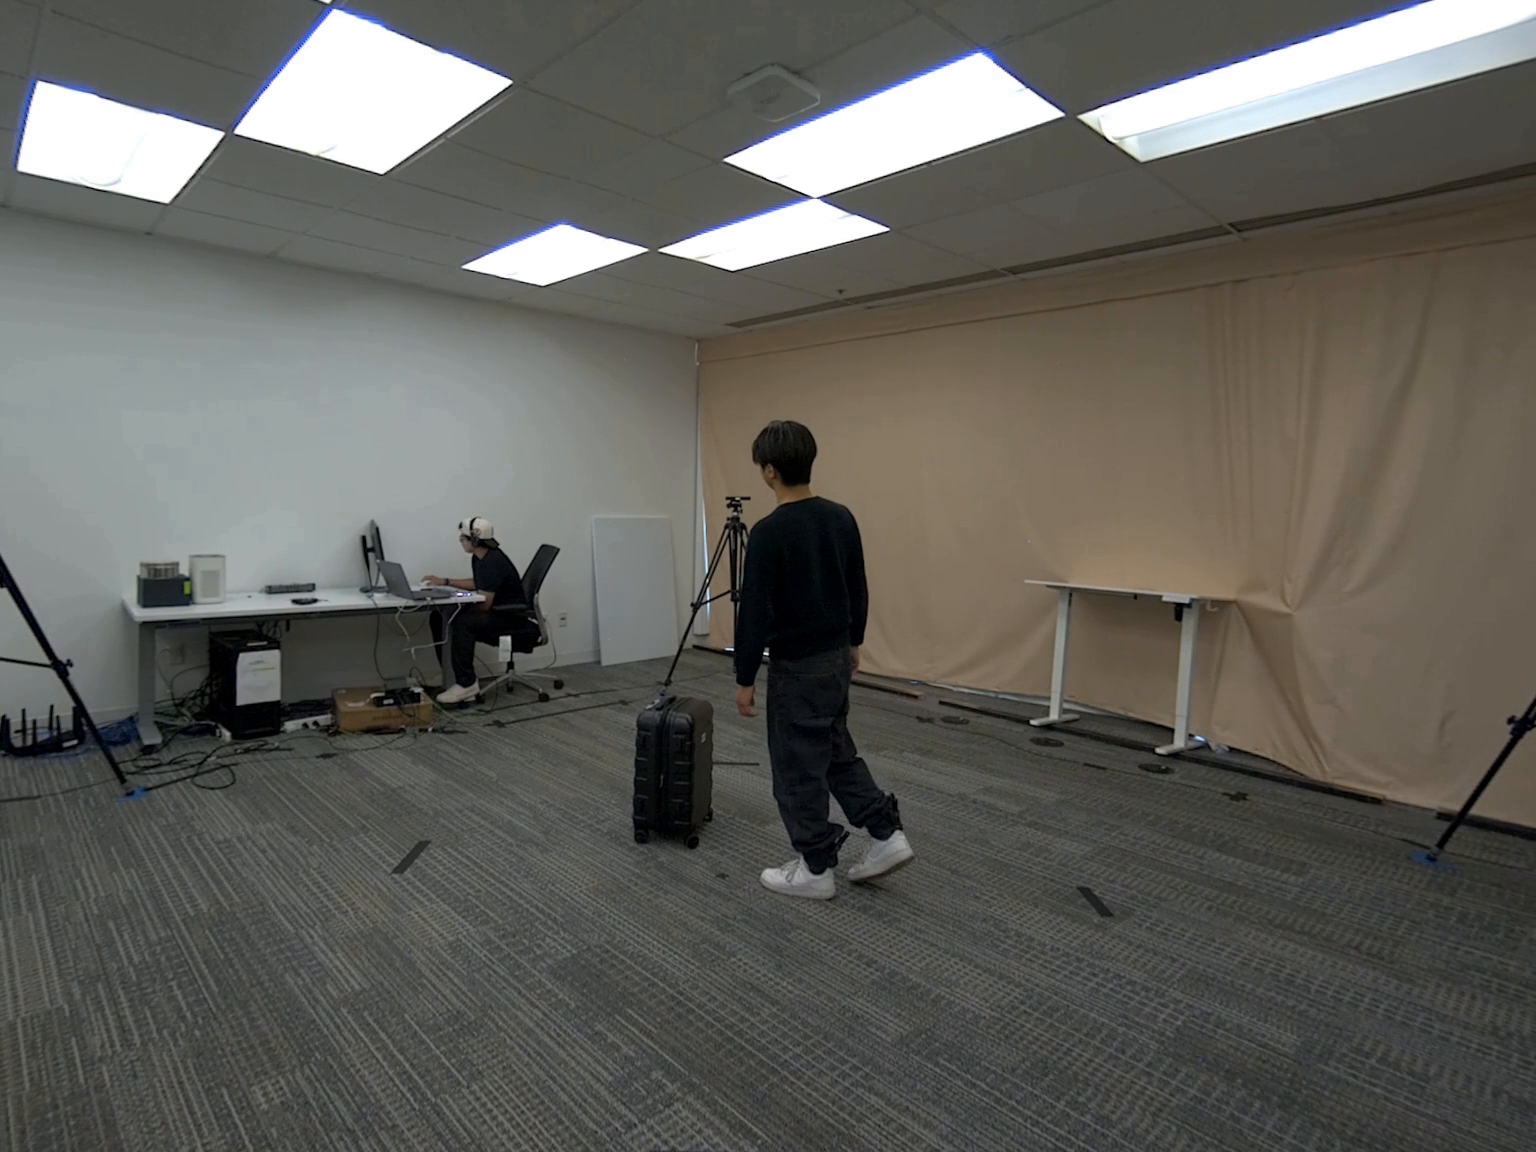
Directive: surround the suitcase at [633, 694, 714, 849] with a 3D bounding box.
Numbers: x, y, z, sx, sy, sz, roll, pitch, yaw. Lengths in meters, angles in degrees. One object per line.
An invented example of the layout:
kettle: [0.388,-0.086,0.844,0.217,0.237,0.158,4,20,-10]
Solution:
suitcase: [-0.394,0.786,3.501,0.251,0.548,0.372,3,3,12]
